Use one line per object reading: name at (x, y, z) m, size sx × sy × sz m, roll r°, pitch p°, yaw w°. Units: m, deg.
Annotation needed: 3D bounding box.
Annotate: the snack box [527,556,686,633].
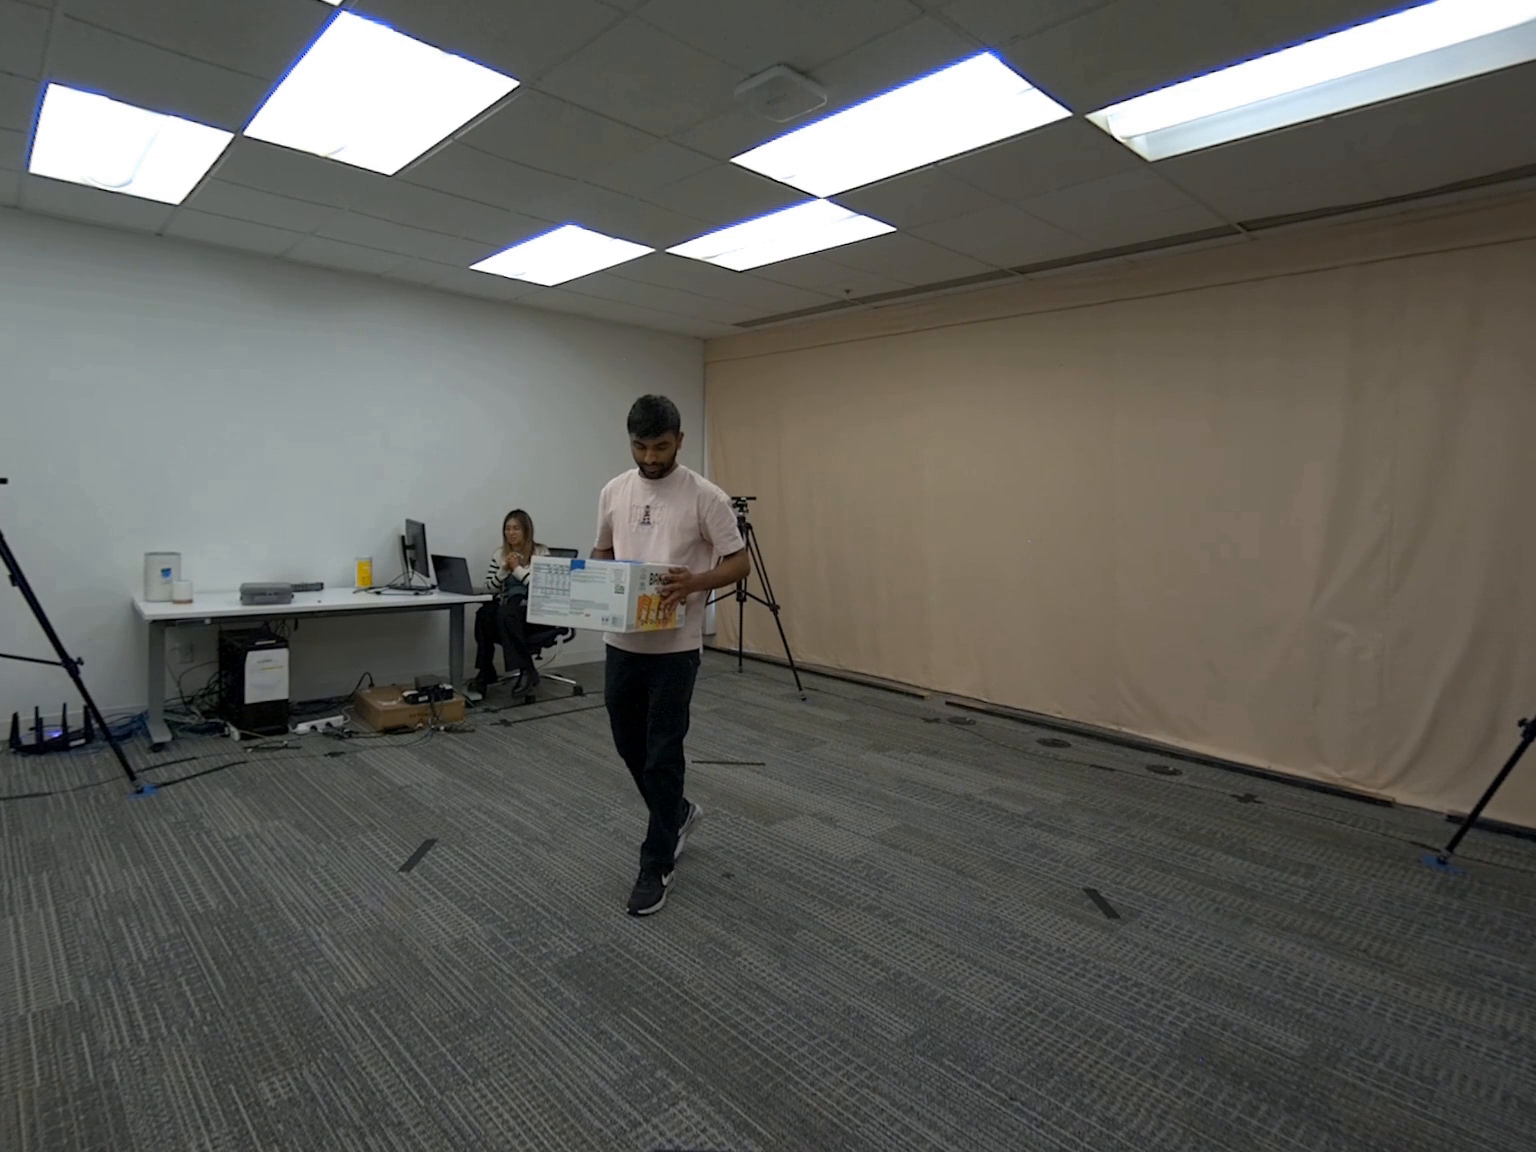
snack box at (-0.503, 0.054, 2.634) m, size 0.346 × 0.206 × 0.398 m, roll 4°, pitch 0°, yaw 21°
